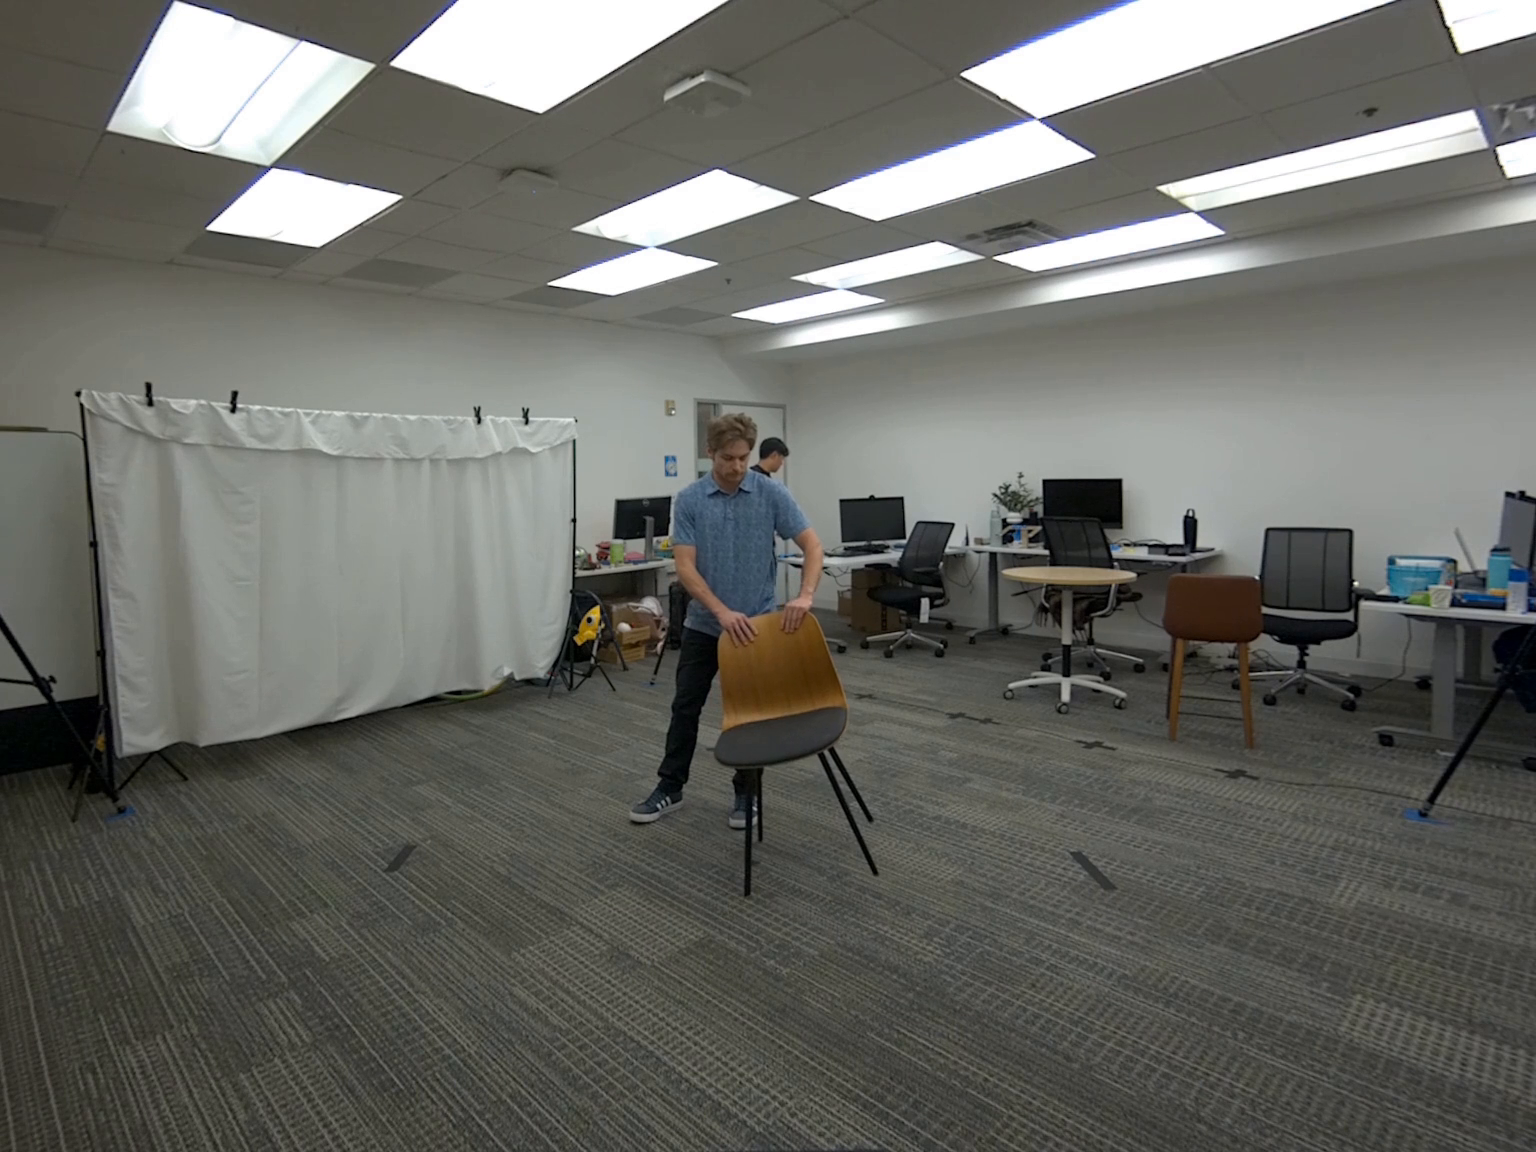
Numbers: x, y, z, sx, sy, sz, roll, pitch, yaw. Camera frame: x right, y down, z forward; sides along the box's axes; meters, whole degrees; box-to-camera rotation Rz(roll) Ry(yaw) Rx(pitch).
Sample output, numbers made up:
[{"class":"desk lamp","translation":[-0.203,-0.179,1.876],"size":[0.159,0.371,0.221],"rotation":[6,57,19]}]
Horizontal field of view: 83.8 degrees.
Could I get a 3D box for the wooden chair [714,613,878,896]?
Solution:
[{"class":"wooden chair","translation":[0.075,0.588,3.008],"size":[0.481,0.880,0.519],"rotation":[-14,-2,7]}]
